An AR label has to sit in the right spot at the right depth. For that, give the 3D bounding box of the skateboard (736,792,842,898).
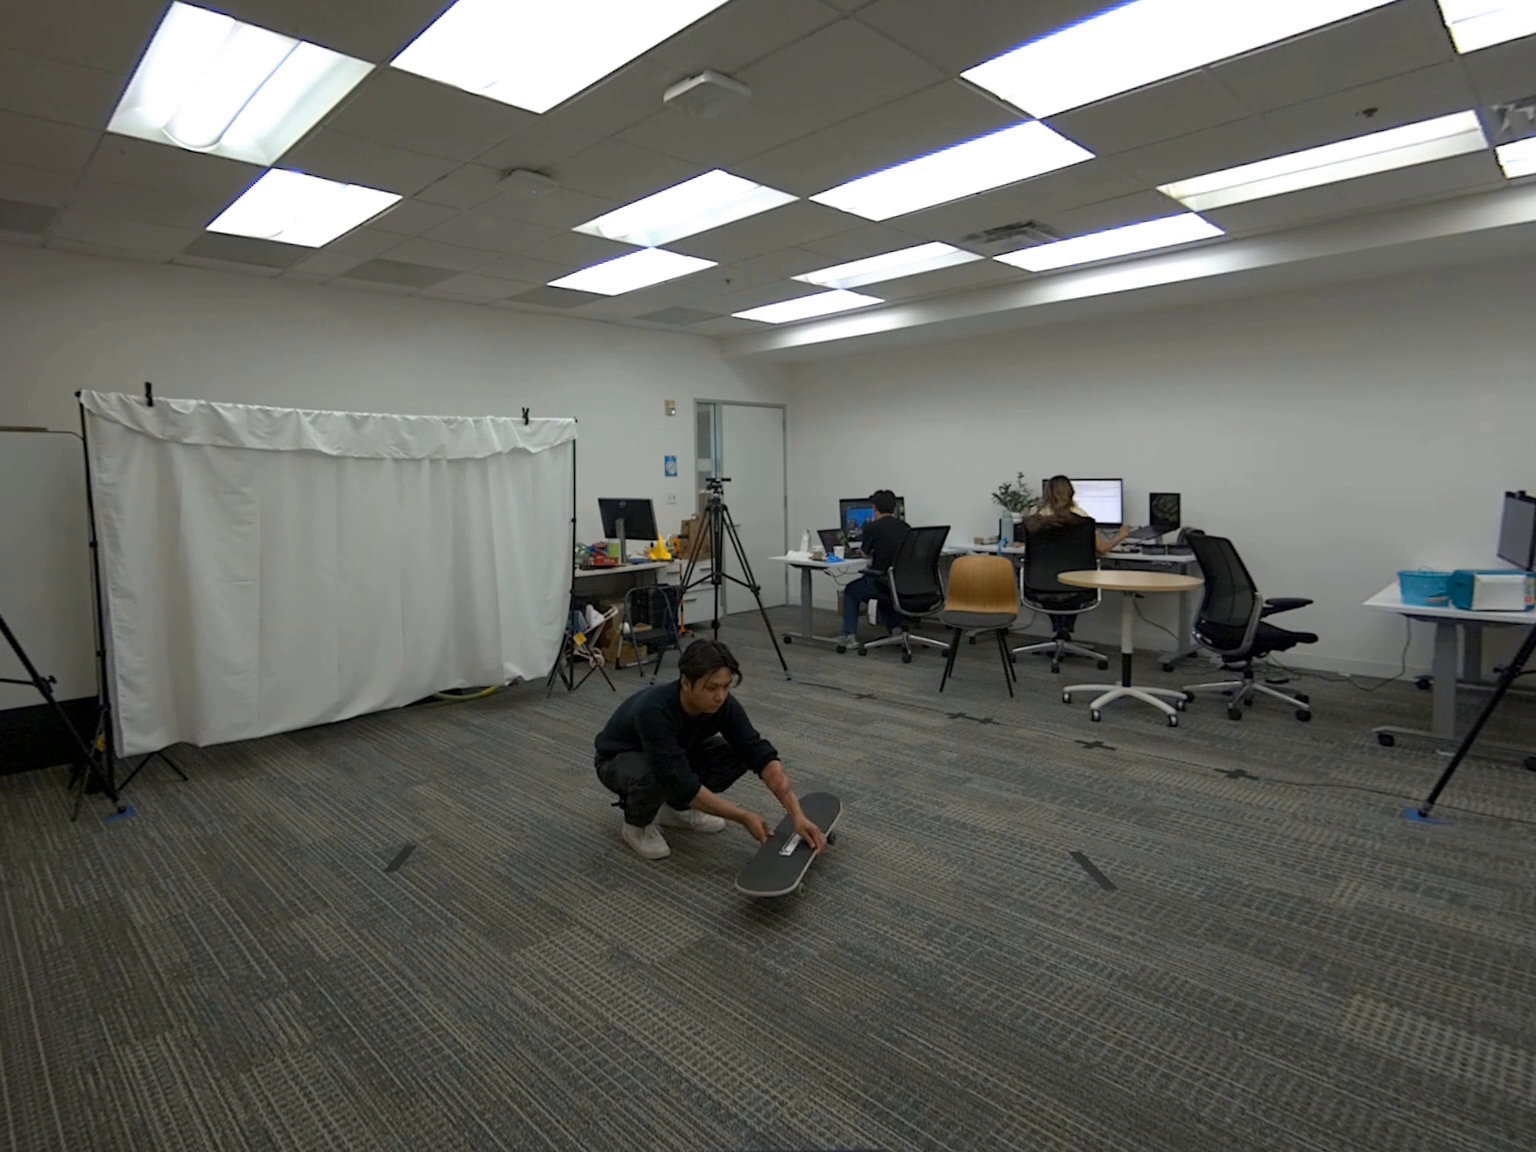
[{"bbox_3d":[0.089,0.955,2.975,0.197,0.109,0.775,-1,8,19],"label":"skateboard"}]
